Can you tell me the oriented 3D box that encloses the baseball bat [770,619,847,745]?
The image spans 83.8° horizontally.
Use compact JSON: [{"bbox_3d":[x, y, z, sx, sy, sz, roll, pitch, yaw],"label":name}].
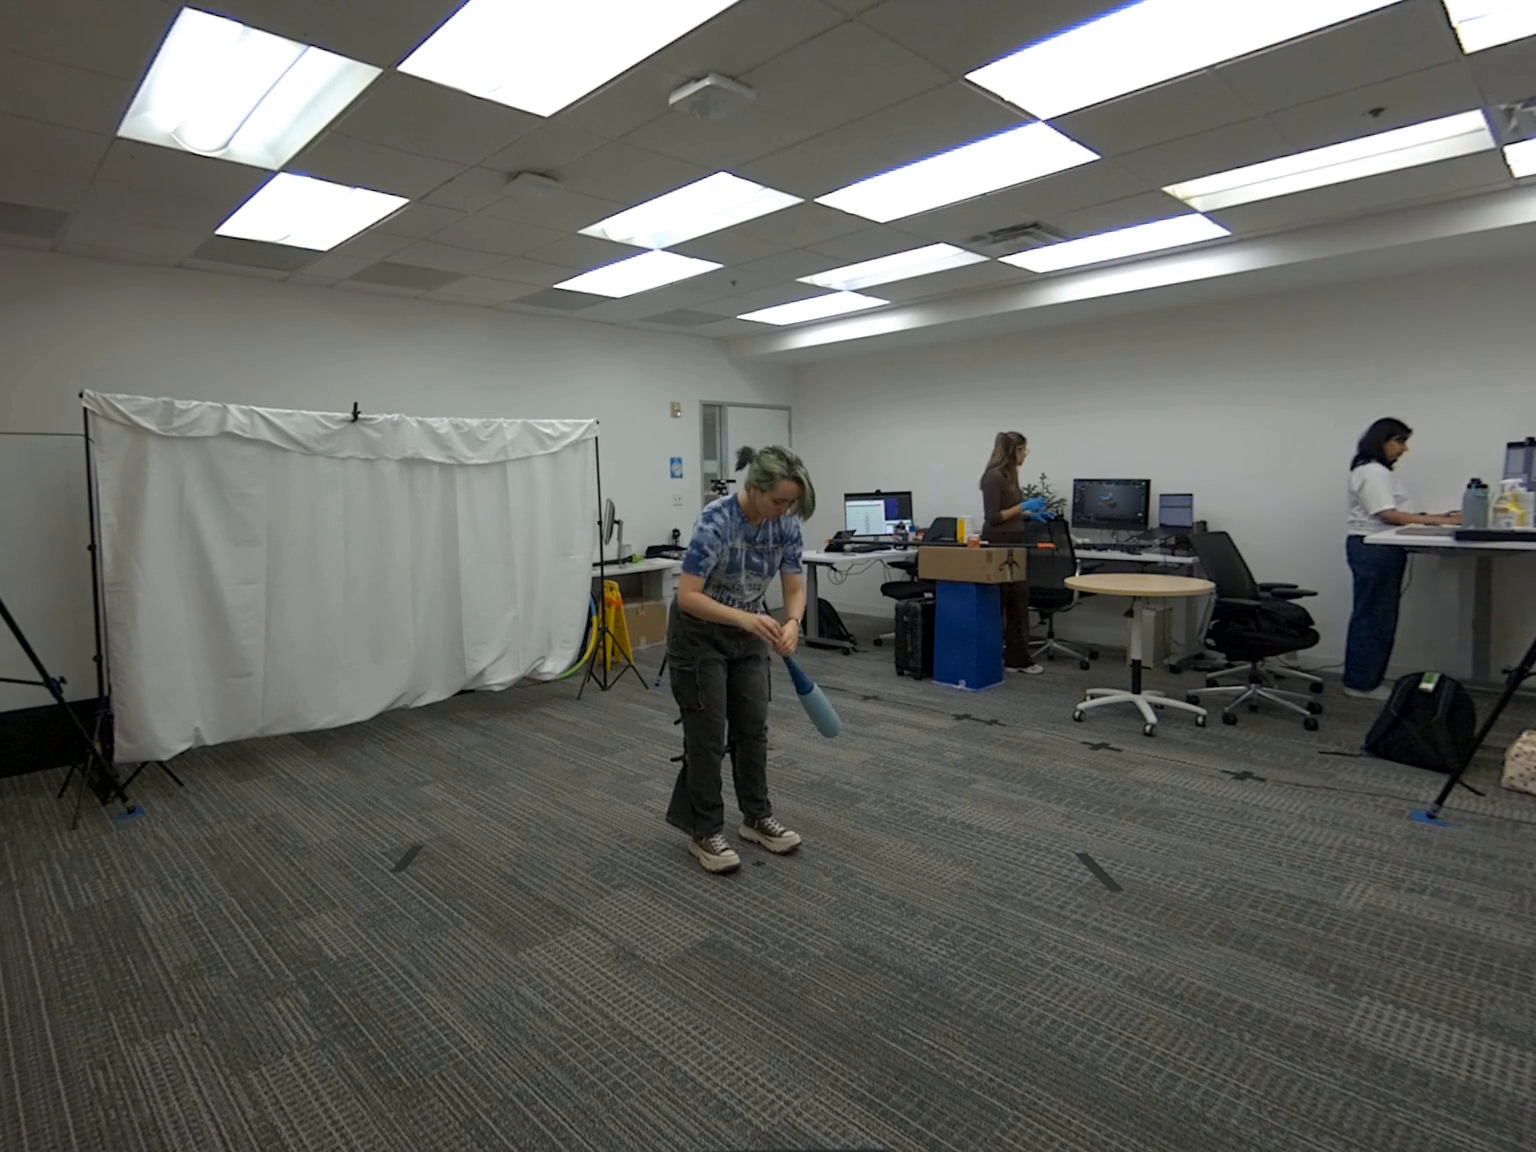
[{"bbox_3d":[0.114,0.370,2.925,0.090,0.524,0.091,-22,35,15],"label":"baseball bat"}]
